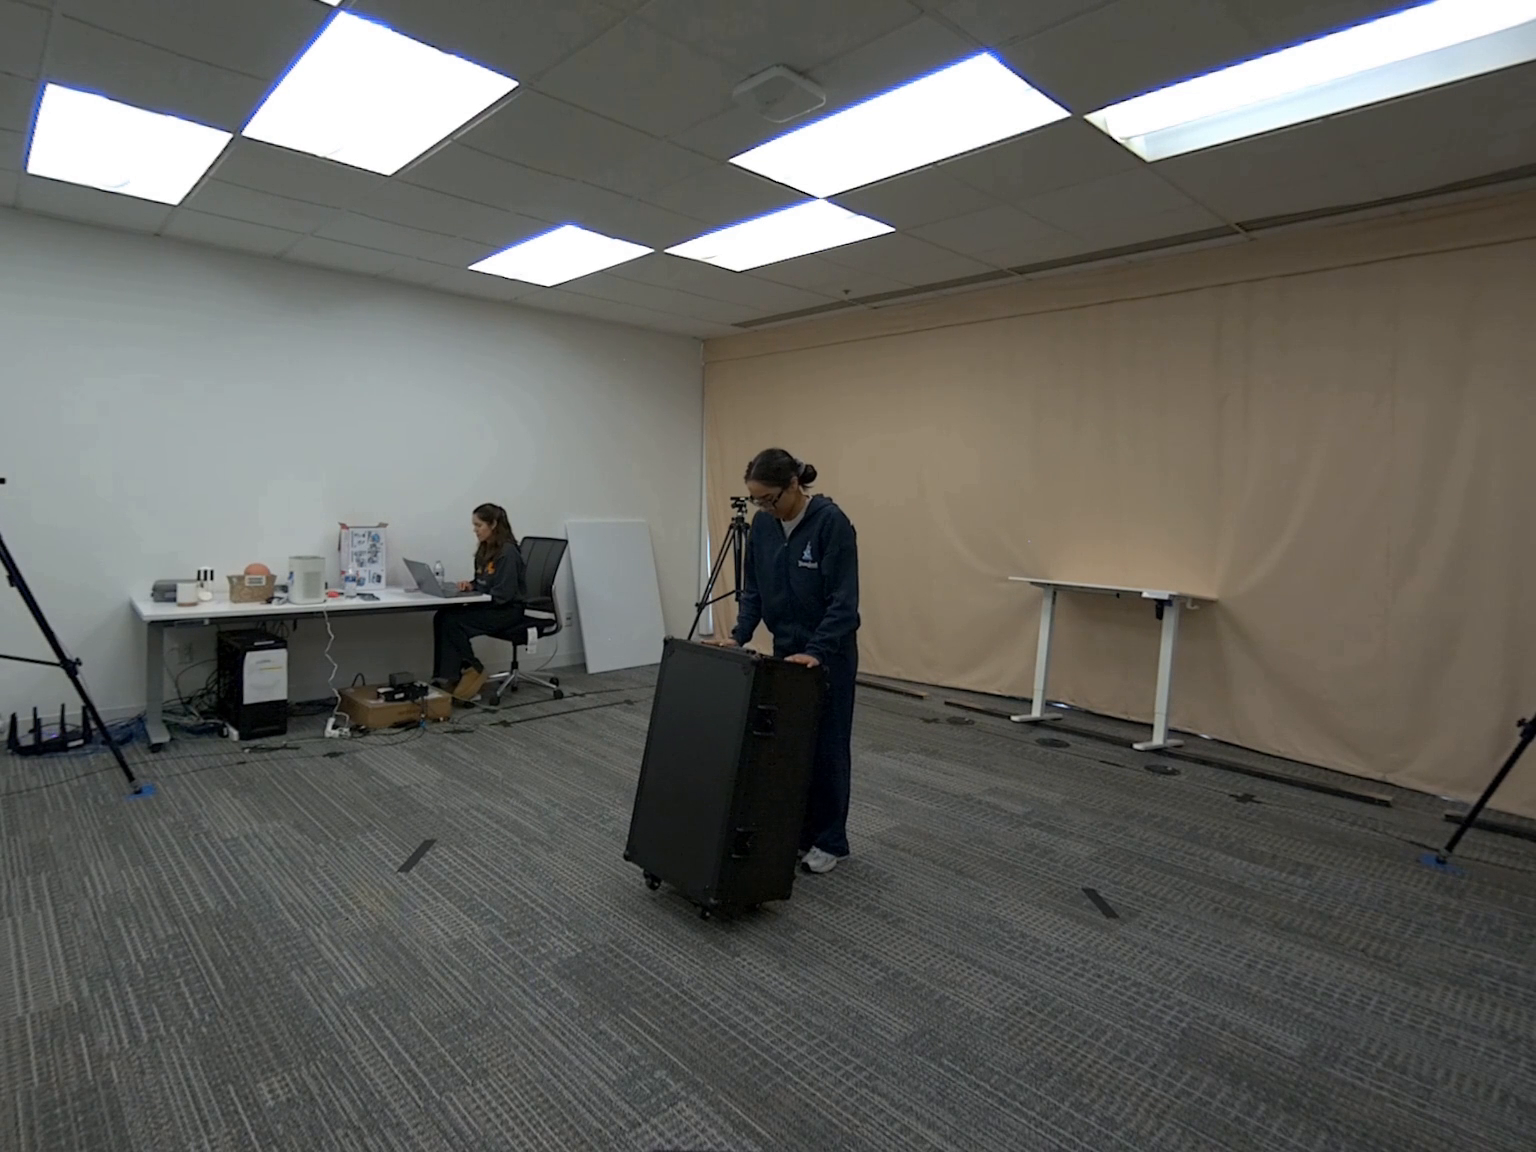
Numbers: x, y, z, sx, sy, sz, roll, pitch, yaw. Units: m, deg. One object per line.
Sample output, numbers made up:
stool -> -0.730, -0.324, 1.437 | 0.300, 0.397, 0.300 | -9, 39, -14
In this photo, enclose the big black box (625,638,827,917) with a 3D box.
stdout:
big black box -> -0.155, 0.688, 2.914 | 0.534, 0.864, 0.385 | 4, -8, 45
